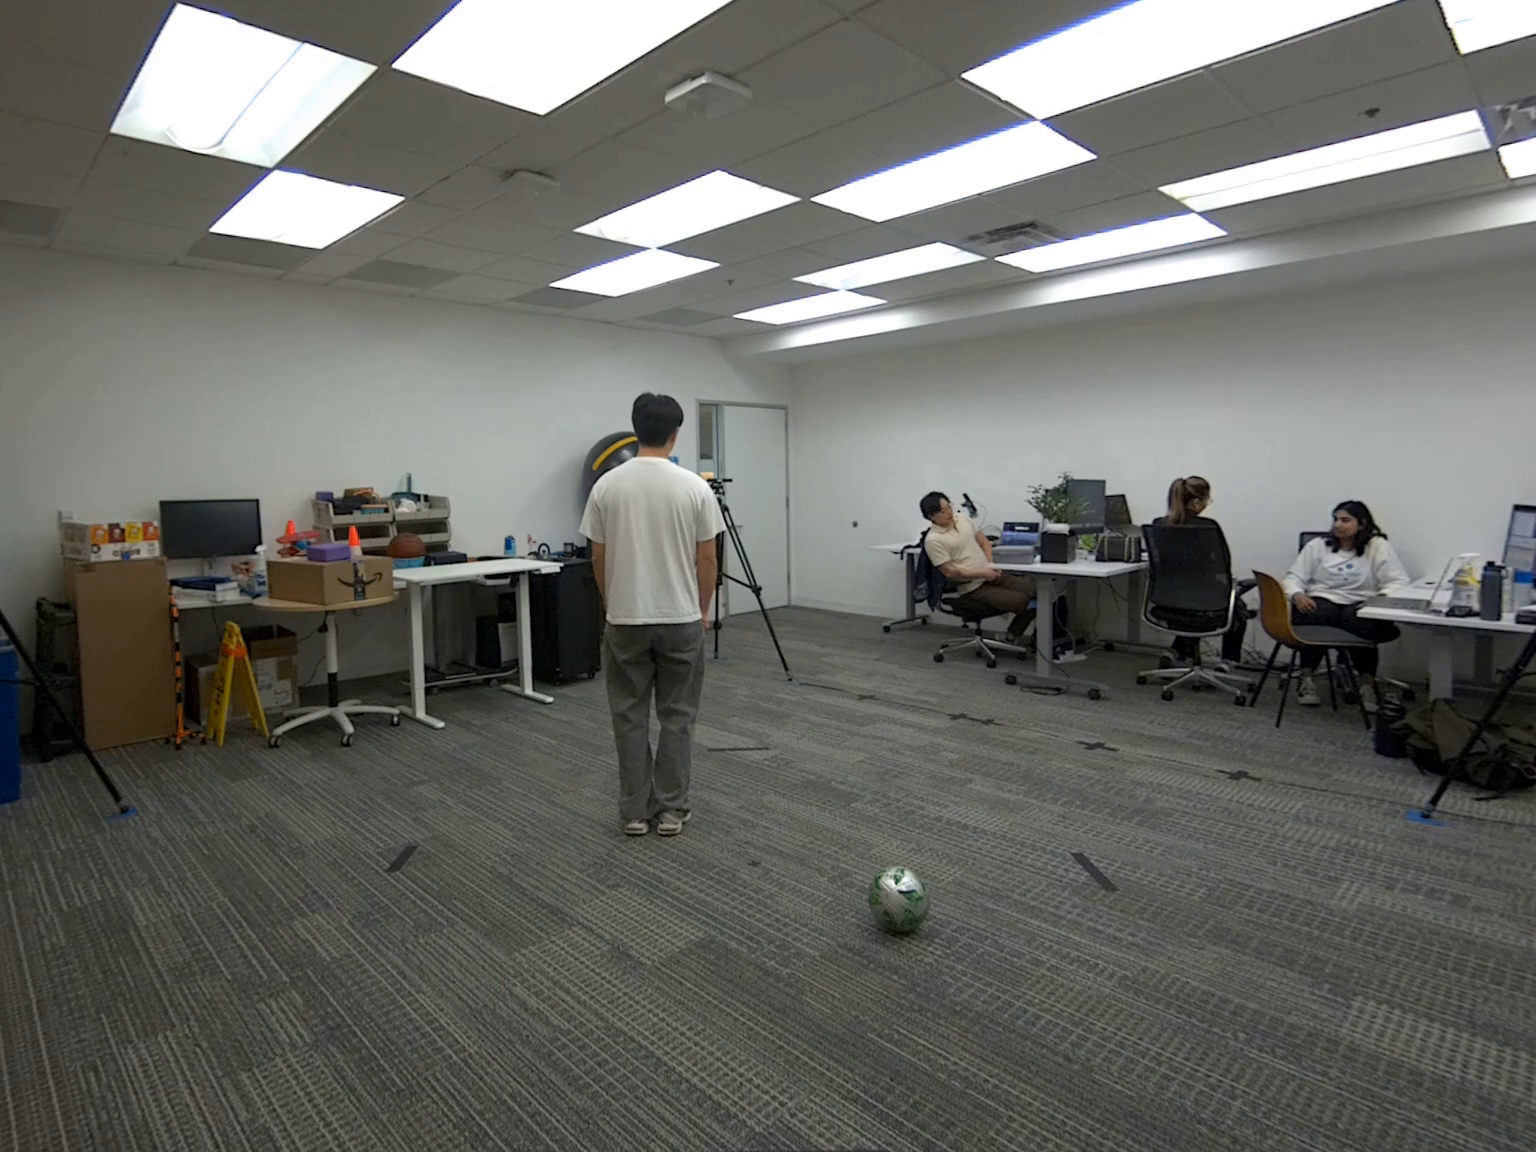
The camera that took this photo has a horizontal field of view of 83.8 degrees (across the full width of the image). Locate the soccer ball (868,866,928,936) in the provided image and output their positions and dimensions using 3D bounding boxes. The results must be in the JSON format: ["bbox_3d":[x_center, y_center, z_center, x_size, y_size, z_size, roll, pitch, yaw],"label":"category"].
[{"bbox_3d":[0.410,0.998,2.644,0.187,0.187,0.188,-1,5,-2],"label":"soccer ball"}]
